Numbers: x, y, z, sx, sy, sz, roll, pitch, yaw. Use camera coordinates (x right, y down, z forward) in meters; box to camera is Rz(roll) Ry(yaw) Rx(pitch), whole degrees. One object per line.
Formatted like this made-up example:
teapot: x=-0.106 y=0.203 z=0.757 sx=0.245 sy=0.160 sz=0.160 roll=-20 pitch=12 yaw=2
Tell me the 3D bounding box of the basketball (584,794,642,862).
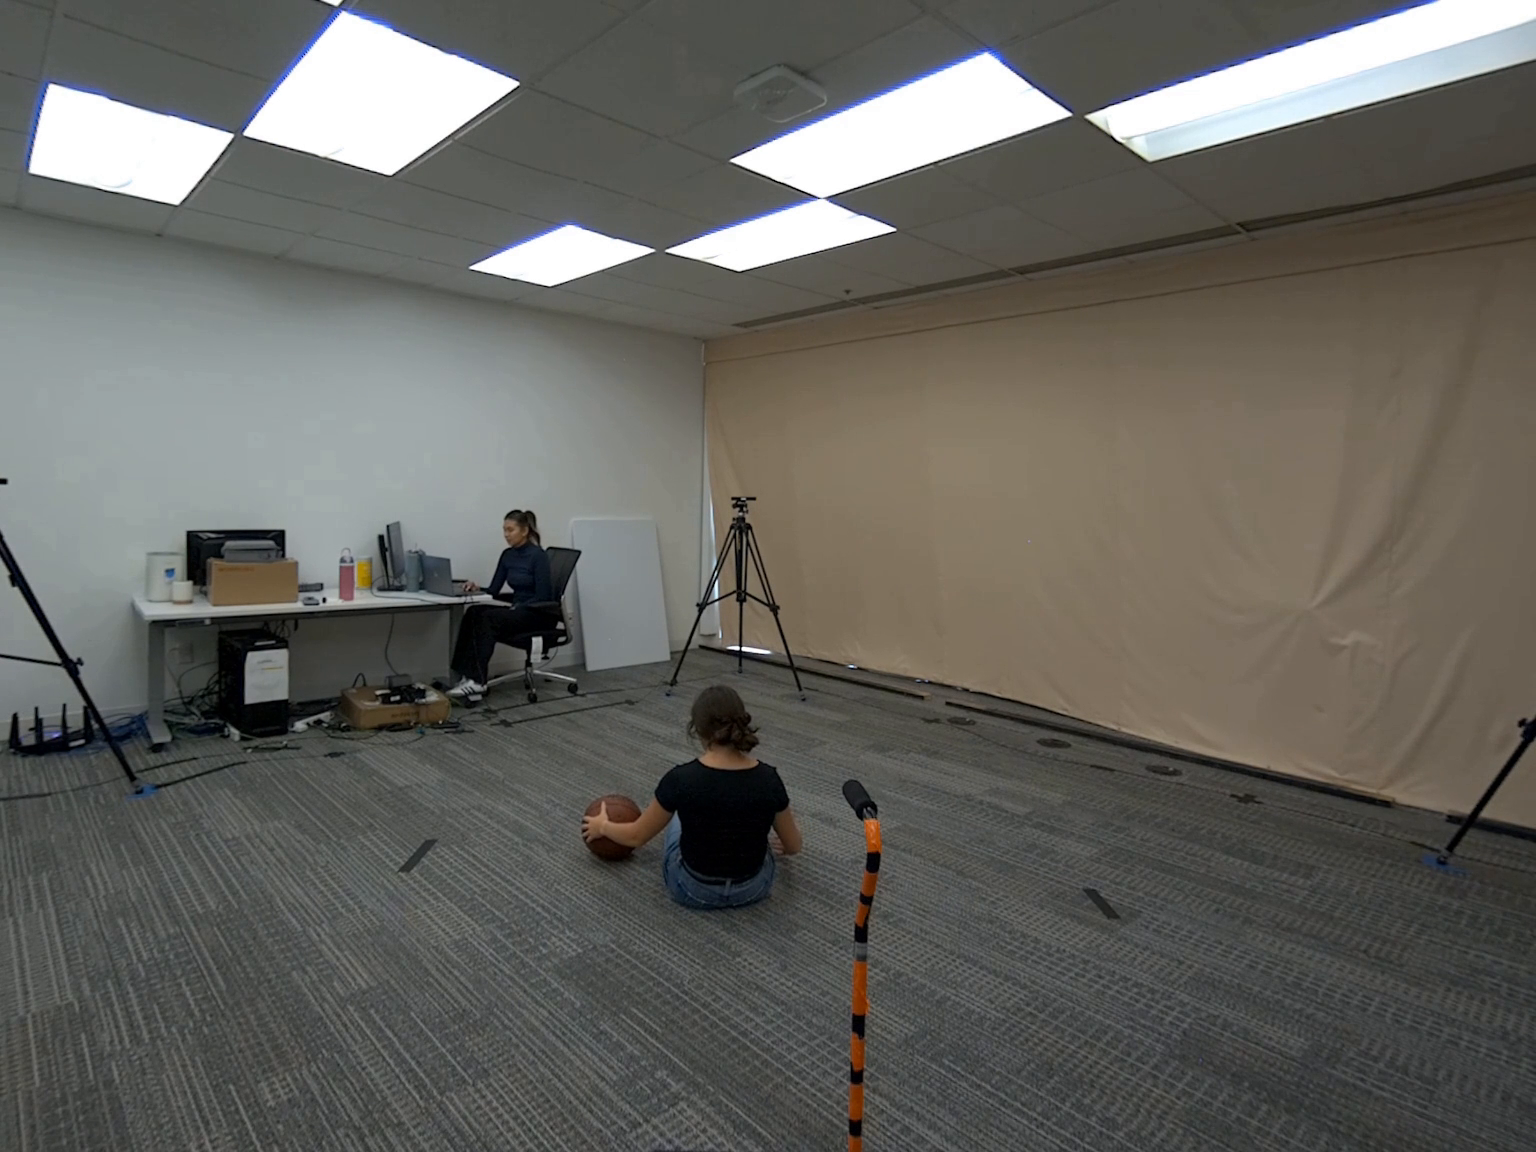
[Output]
basketball: x=-0.599 y=0.963 z=3.244 sx=0.236 sy=0.235 sz=0.237 roll=1 pitch=4 yaw=-1
